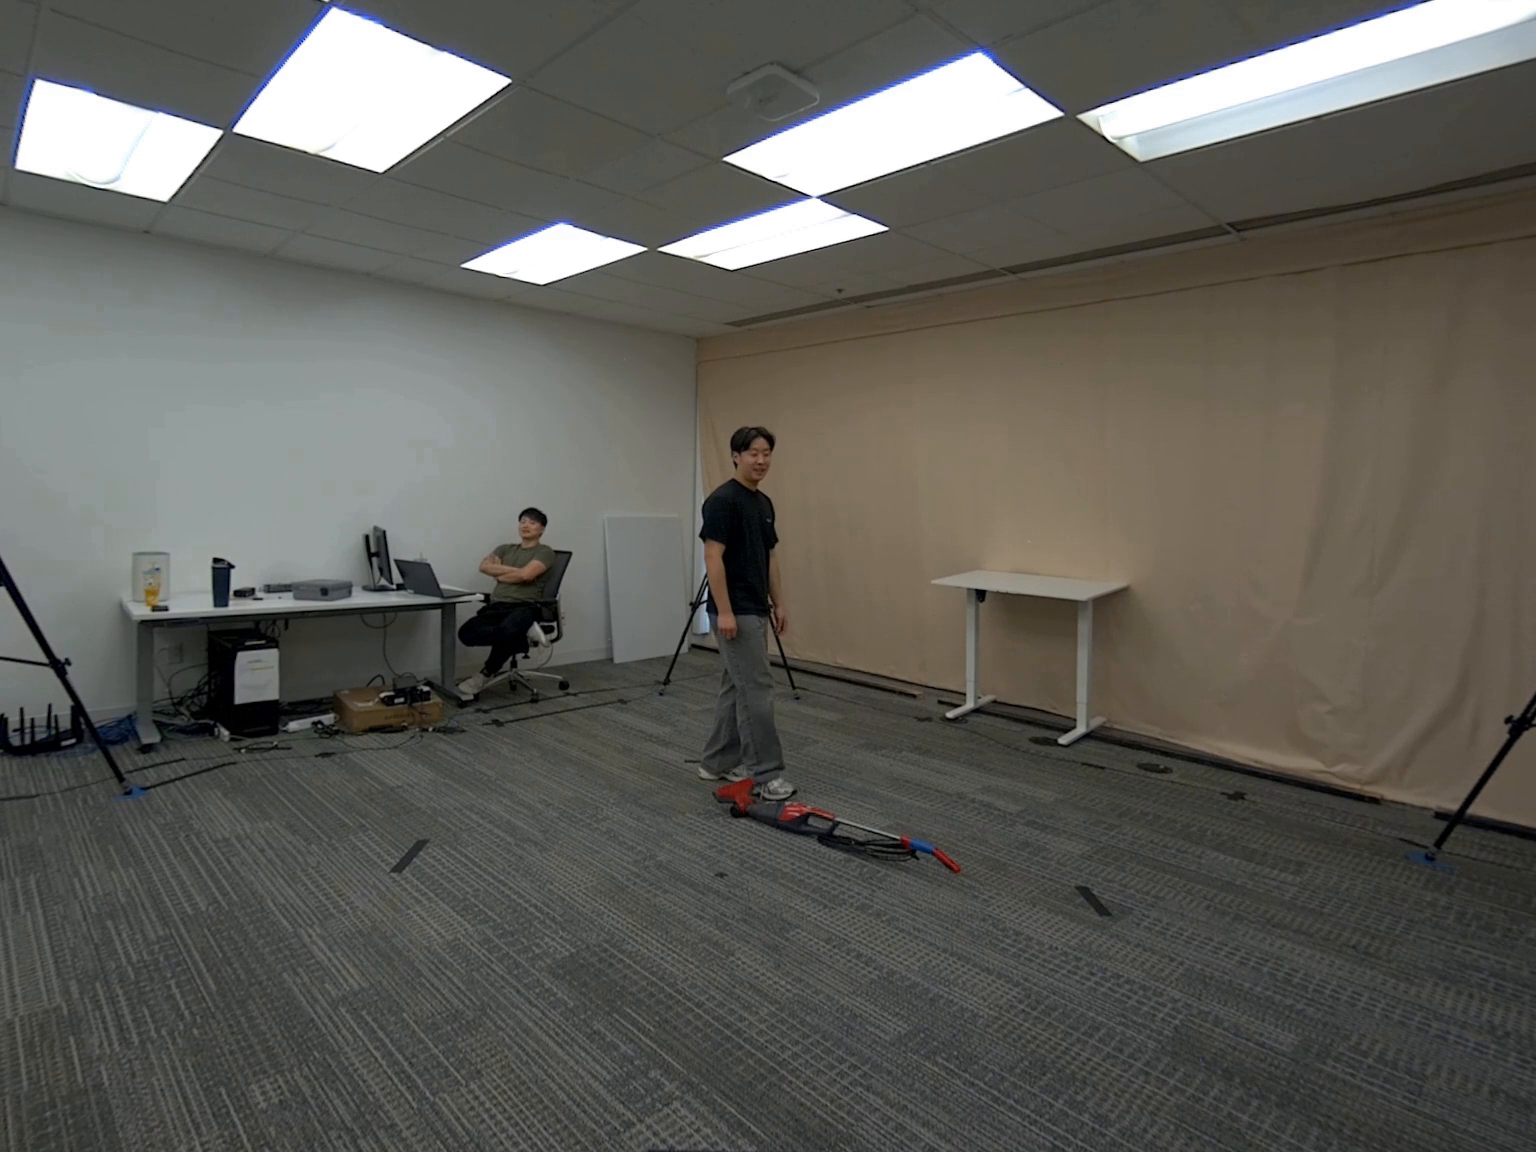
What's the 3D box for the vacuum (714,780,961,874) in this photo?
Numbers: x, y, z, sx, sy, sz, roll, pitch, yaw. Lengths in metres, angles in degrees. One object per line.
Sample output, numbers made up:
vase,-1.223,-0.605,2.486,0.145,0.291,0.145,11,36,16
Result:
vacuum,0.267,1.032,3.393,1.076,0.143,0.247,6,8,40
